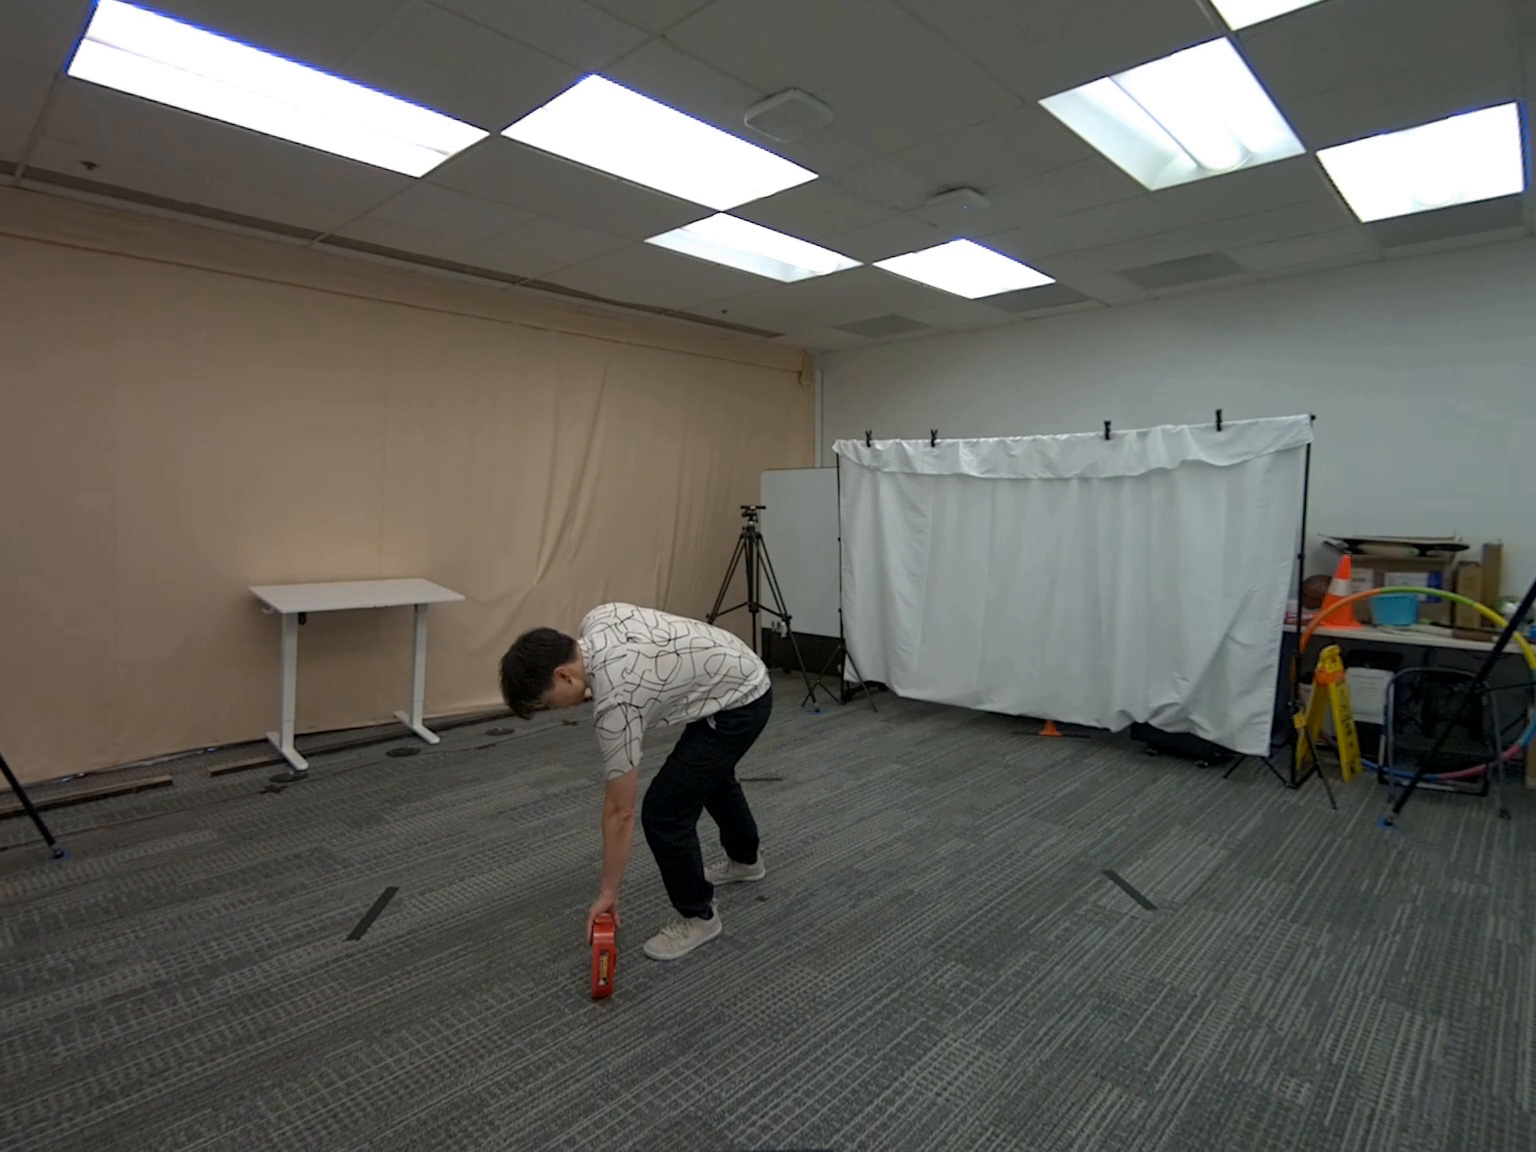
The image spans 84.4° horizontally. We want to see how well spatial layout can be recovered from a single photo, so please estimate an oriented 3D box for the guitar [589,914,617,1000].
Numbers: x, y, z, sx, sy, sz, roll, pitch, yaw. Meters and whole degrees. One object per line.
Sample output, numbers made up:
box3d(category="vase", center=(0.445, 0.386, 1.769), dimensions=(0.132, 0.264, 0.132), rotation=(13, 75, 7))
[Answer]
box3d(category="guitar", center=(-0.504, 1.133, 2.579), dimensions=(0.070, 0.194, 0.498), rotation=(2, -12, -10))
